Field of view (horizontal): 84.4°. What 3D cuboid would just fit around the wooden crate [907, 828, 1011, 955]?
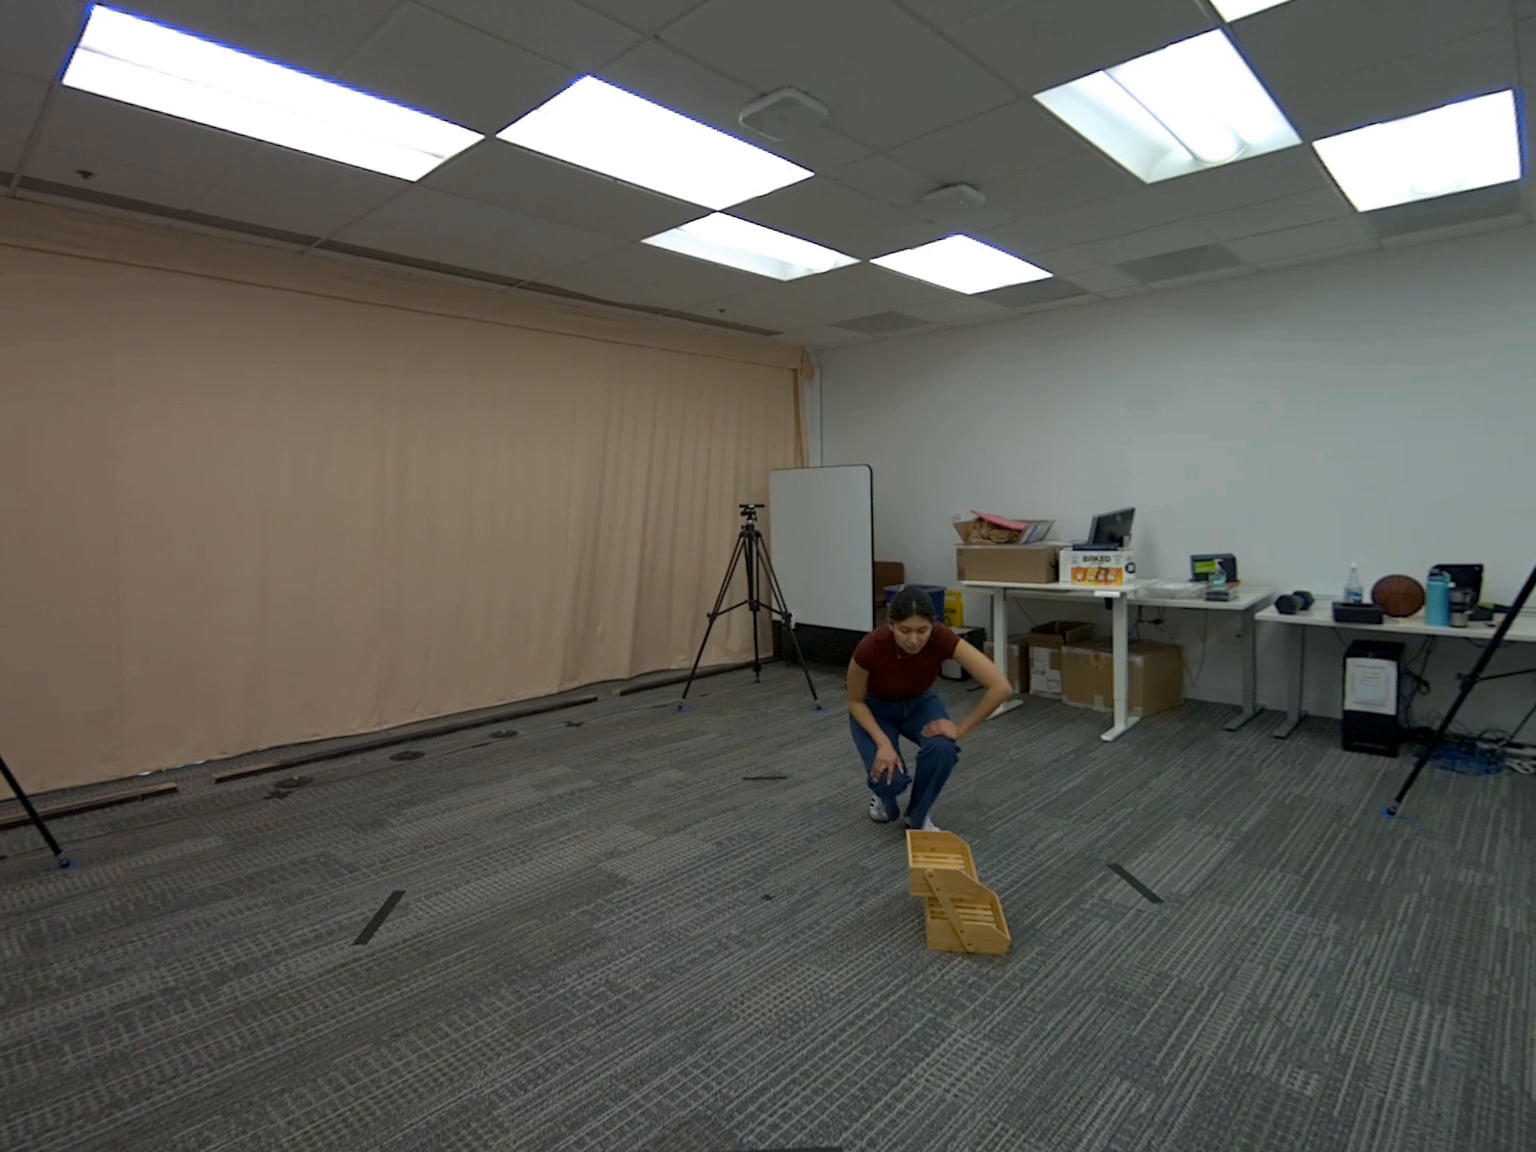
[{"bbox_3d":[0.624,1.014,2.740,0.305,0.273,0.322,0,4,9],"label":"wooden crate"}]
